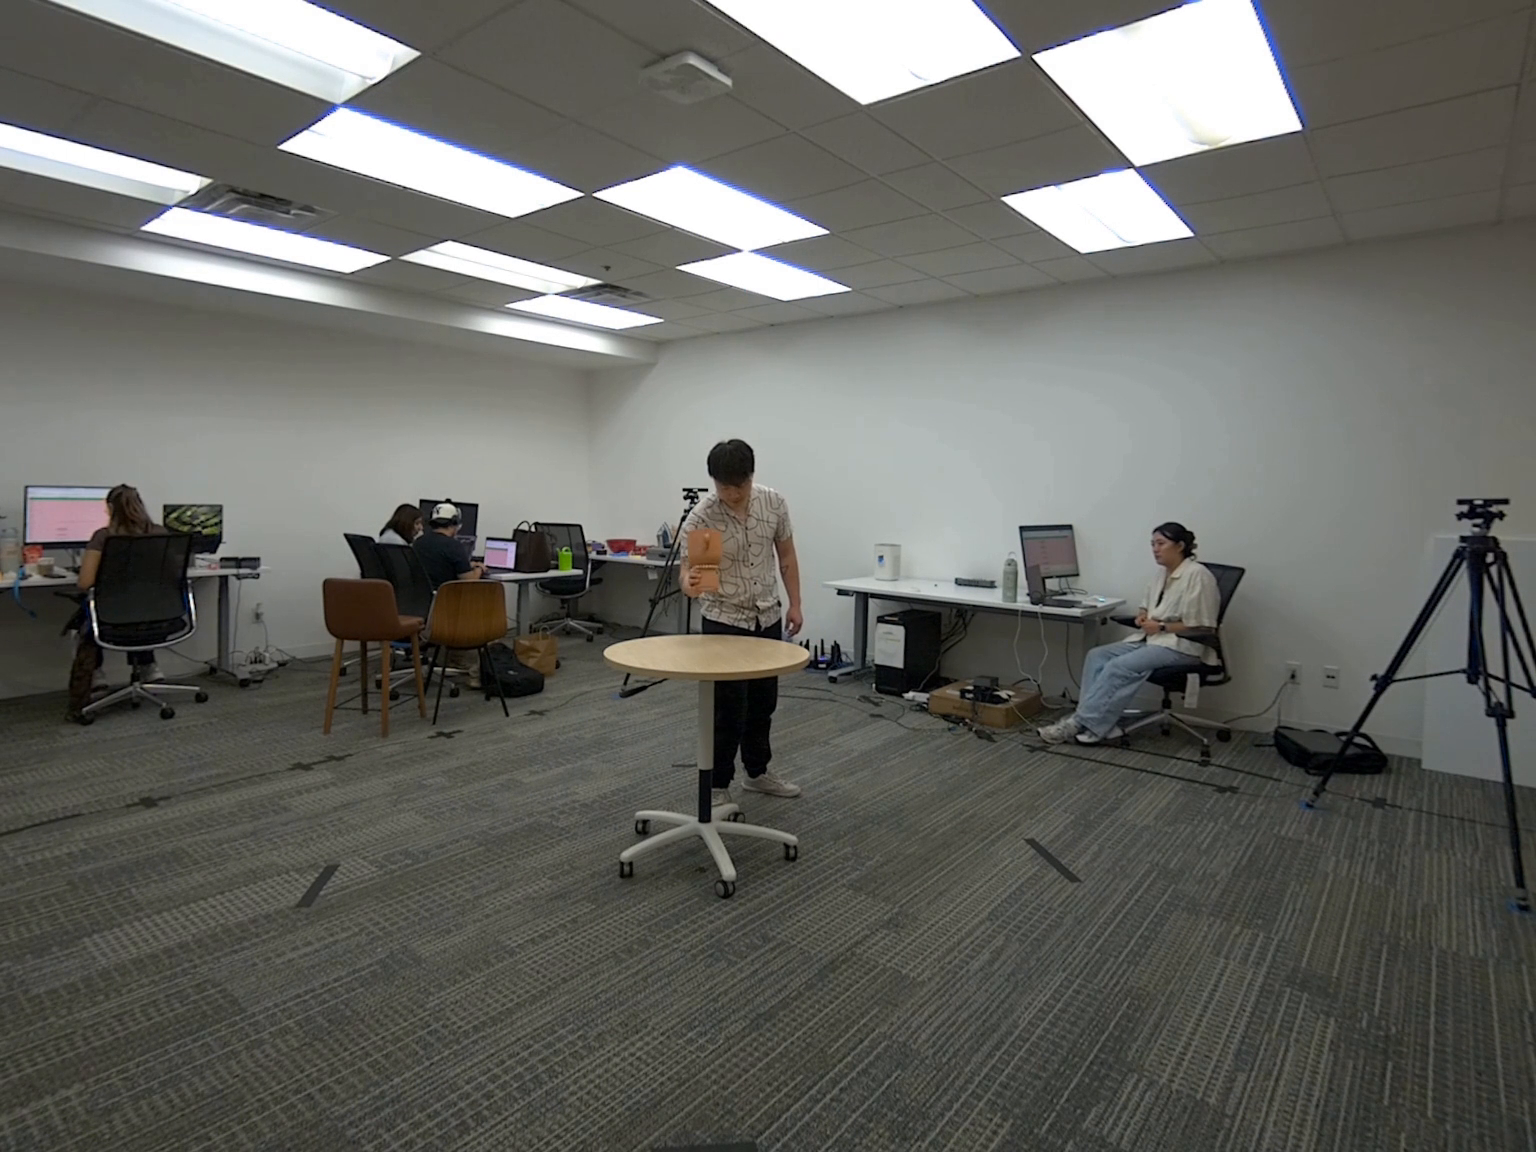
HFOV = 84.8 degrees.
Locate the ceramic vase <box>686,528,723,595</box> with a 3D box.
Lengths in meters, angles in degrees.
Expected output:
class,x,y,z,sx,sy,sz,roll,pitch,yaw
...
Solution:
class,x,y,z,sx,sy,sz,roll,pitch,yaw
ceramic vase,-0.247,-0.064,3.214,0.138,0.222,0.153,-7,-12,30
